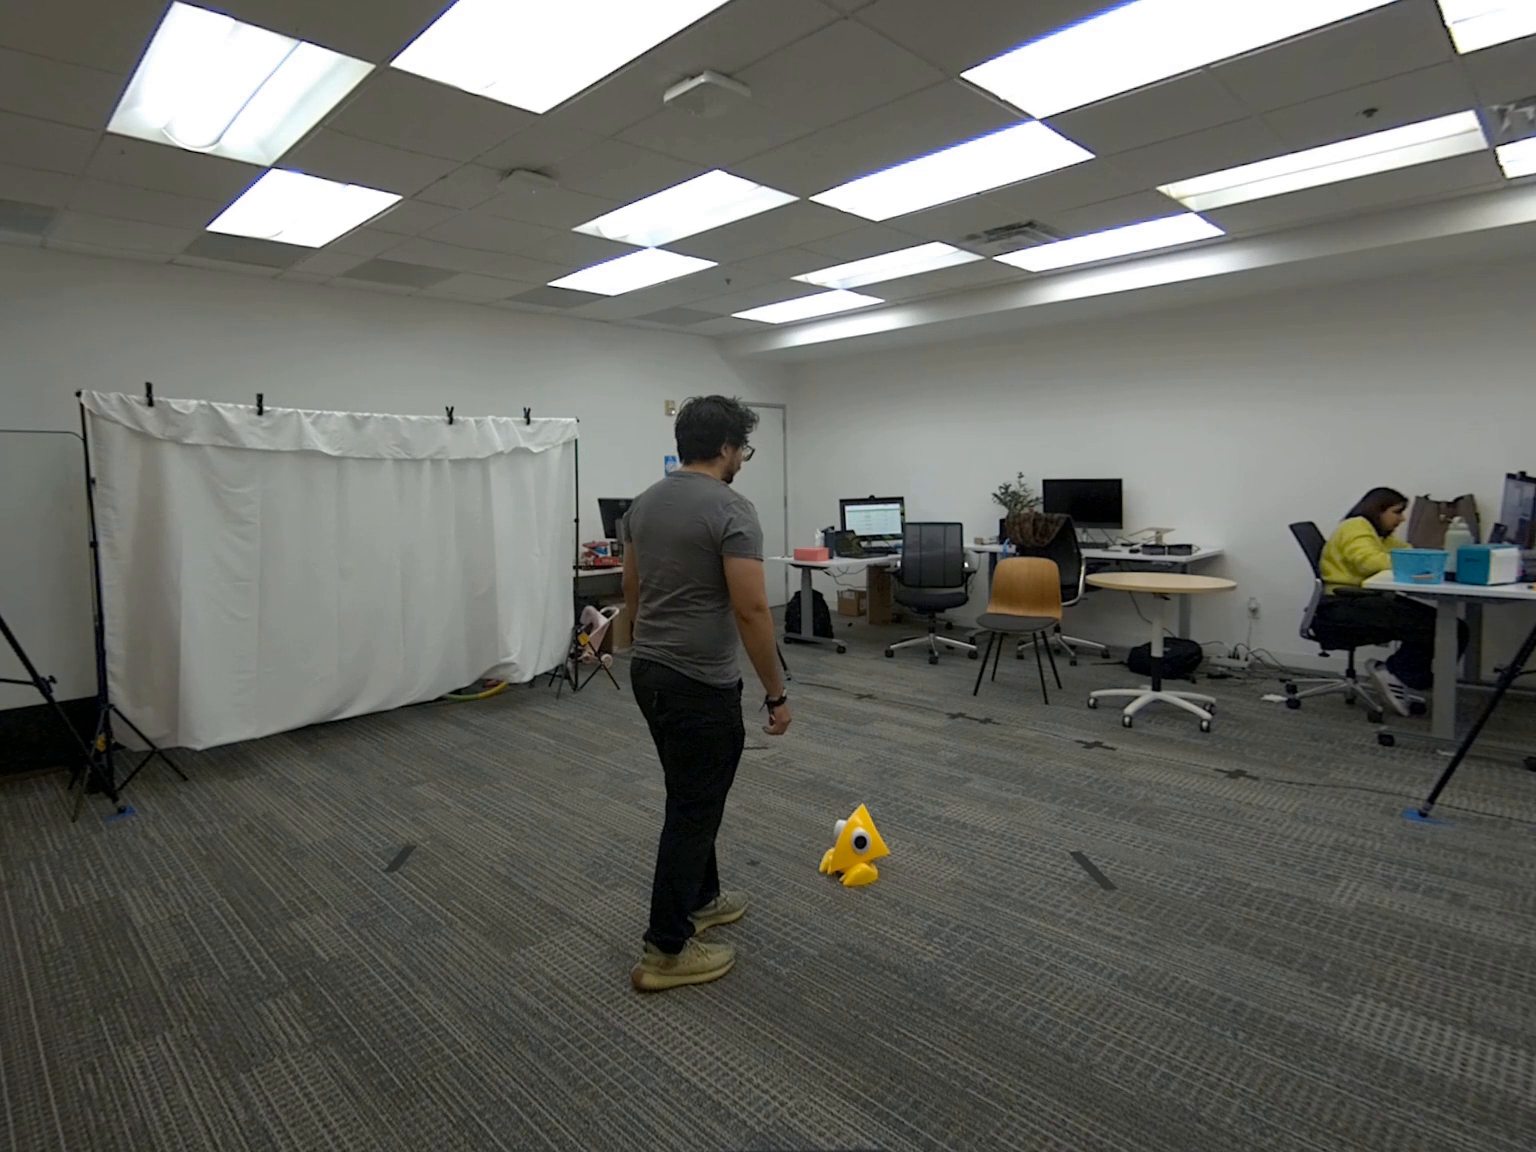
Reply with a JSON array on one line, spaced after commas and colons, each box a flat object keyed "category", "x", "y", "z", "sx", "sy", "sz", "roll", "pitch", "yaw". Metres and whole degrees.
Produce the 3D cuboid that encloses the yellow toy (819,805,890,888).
[{"category": "yellow toy", "x": 0.297, "y": 0.935, "z": 3.018, "sx": 0.188, "sy": 0.230, "sz": 0.211, "roll": -6, "pitch": 6, "yaw": -35}]
